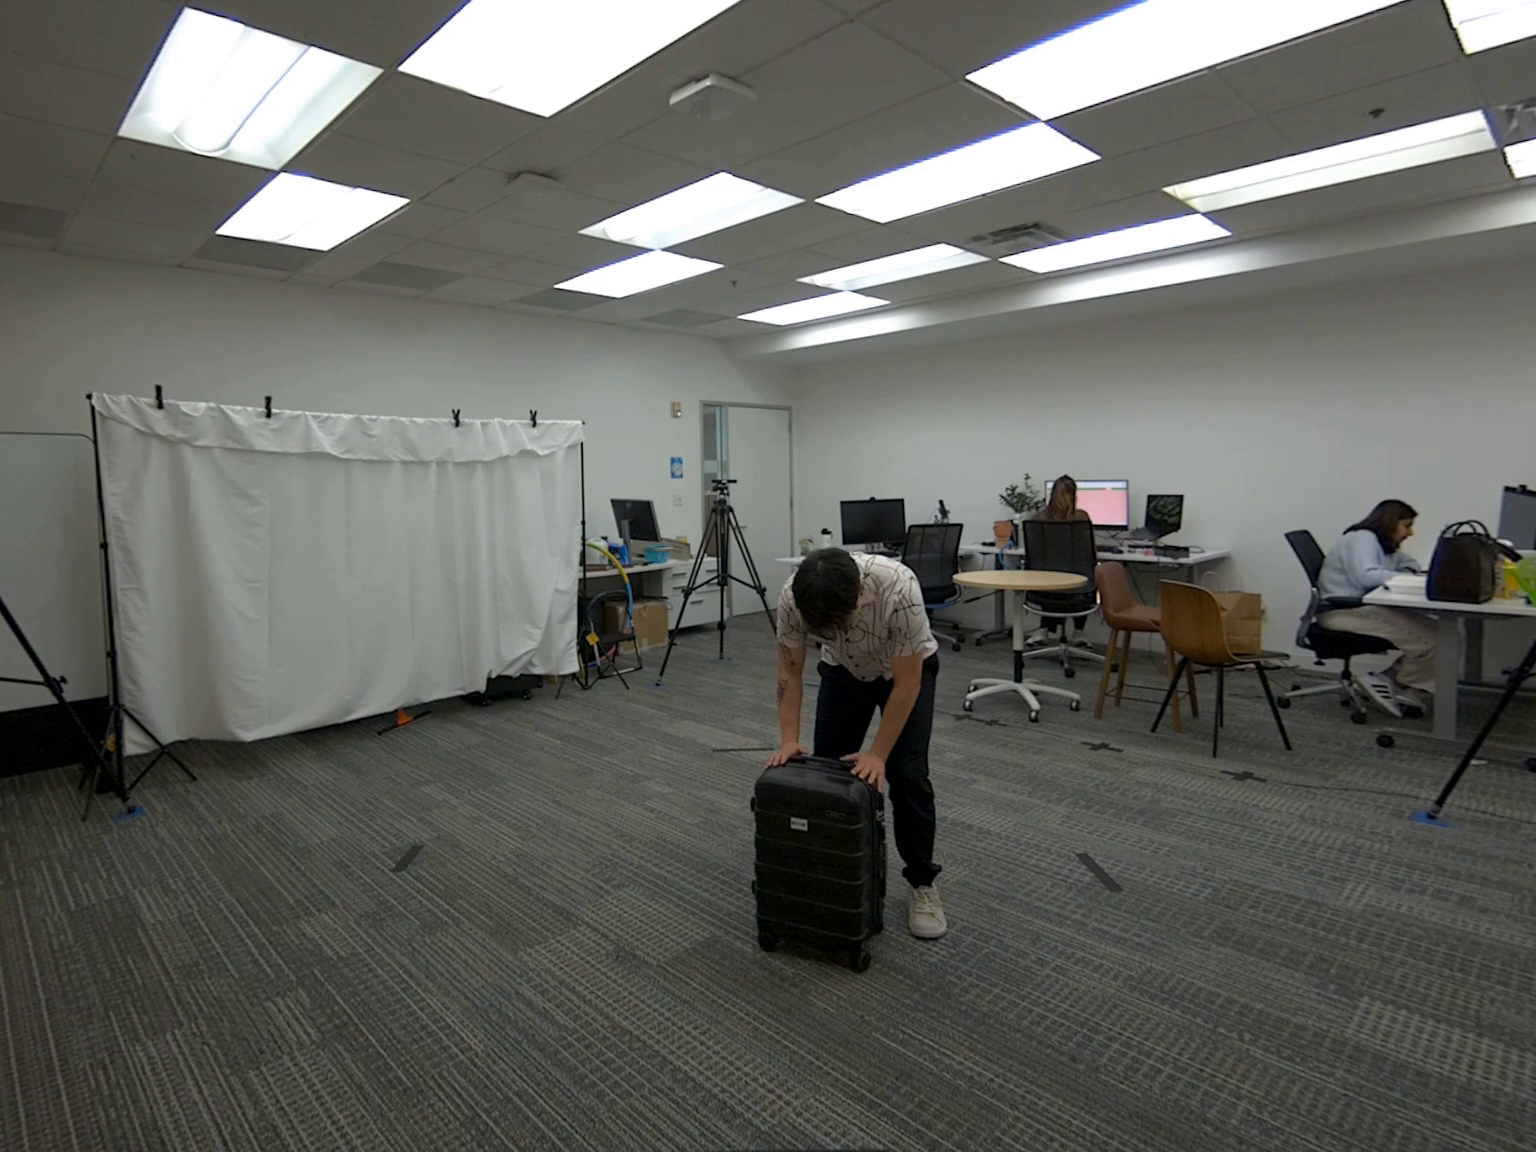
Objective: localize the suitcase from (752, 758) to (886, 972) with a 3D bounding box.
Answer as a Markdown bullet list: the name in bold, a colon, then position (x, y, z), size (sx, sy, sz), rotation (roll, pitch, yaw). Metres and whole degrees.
- **suitcase**: position (0.160, 0.830, 2.563), size (0.384, 0.547, 0.243), rotation (1, 5, 26)
